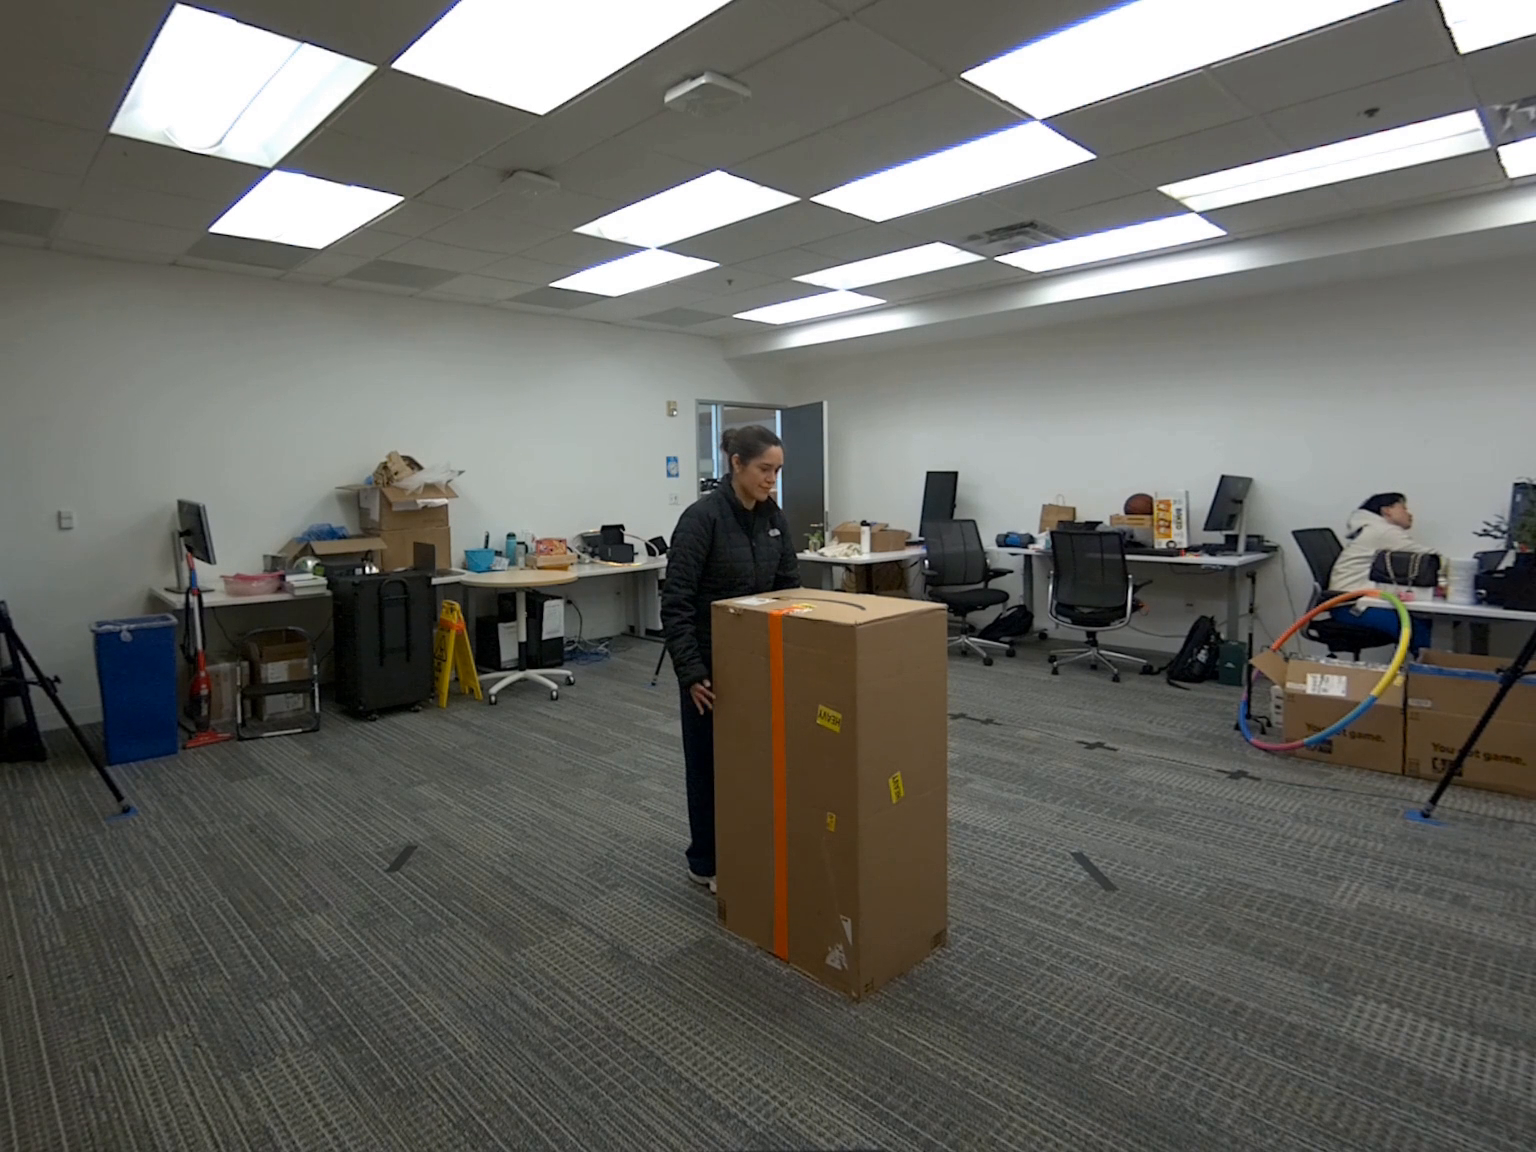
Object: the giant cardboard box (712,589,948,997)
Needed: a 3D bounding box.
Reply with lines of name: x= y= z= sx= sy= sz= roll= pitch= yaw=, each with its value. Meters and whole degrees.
giant cardboard box: x=0.186 y=0.591 z=2.594 sx=0.415 sy=1.022 sz=0.595 roll=-4 pitch=5 yaw=-44
